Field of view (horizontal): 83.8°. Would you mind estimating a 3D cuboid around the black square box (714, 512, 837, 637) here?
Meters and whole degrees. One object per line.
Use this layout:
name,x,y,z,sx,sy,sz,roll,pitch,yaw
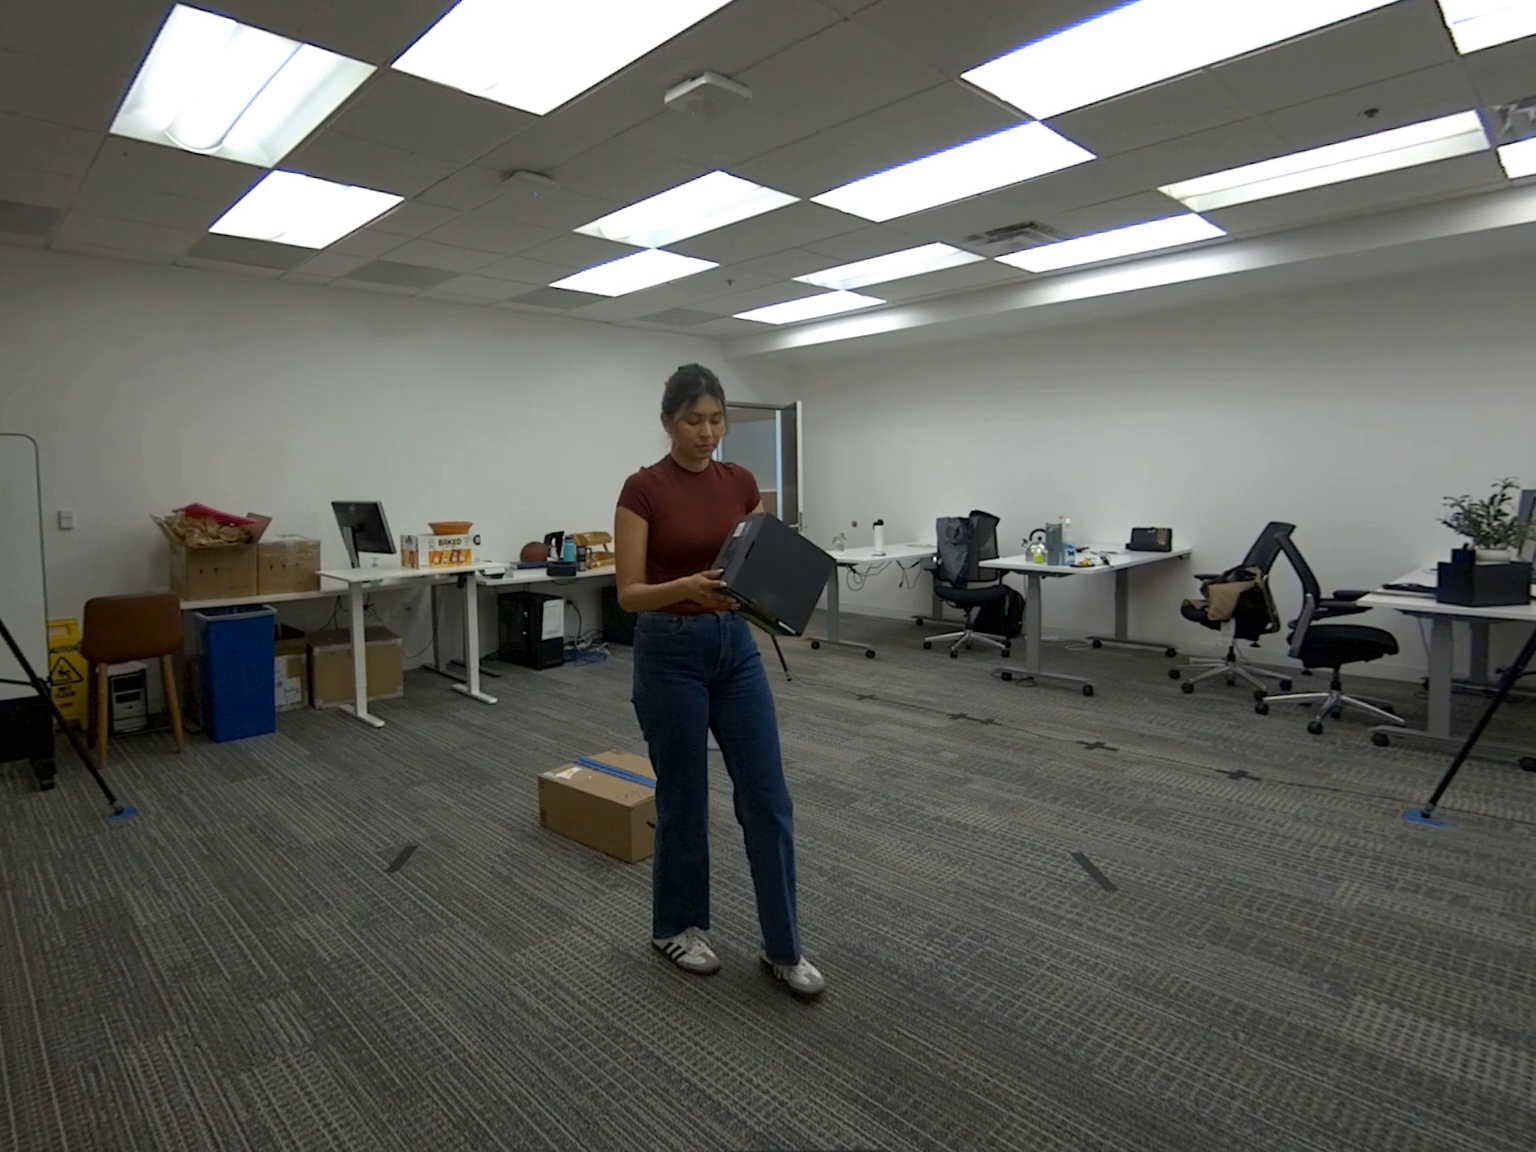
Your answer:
black square box,-0.002,0.008,2.085,0.222,0.218,0.159,34,-17,-21
